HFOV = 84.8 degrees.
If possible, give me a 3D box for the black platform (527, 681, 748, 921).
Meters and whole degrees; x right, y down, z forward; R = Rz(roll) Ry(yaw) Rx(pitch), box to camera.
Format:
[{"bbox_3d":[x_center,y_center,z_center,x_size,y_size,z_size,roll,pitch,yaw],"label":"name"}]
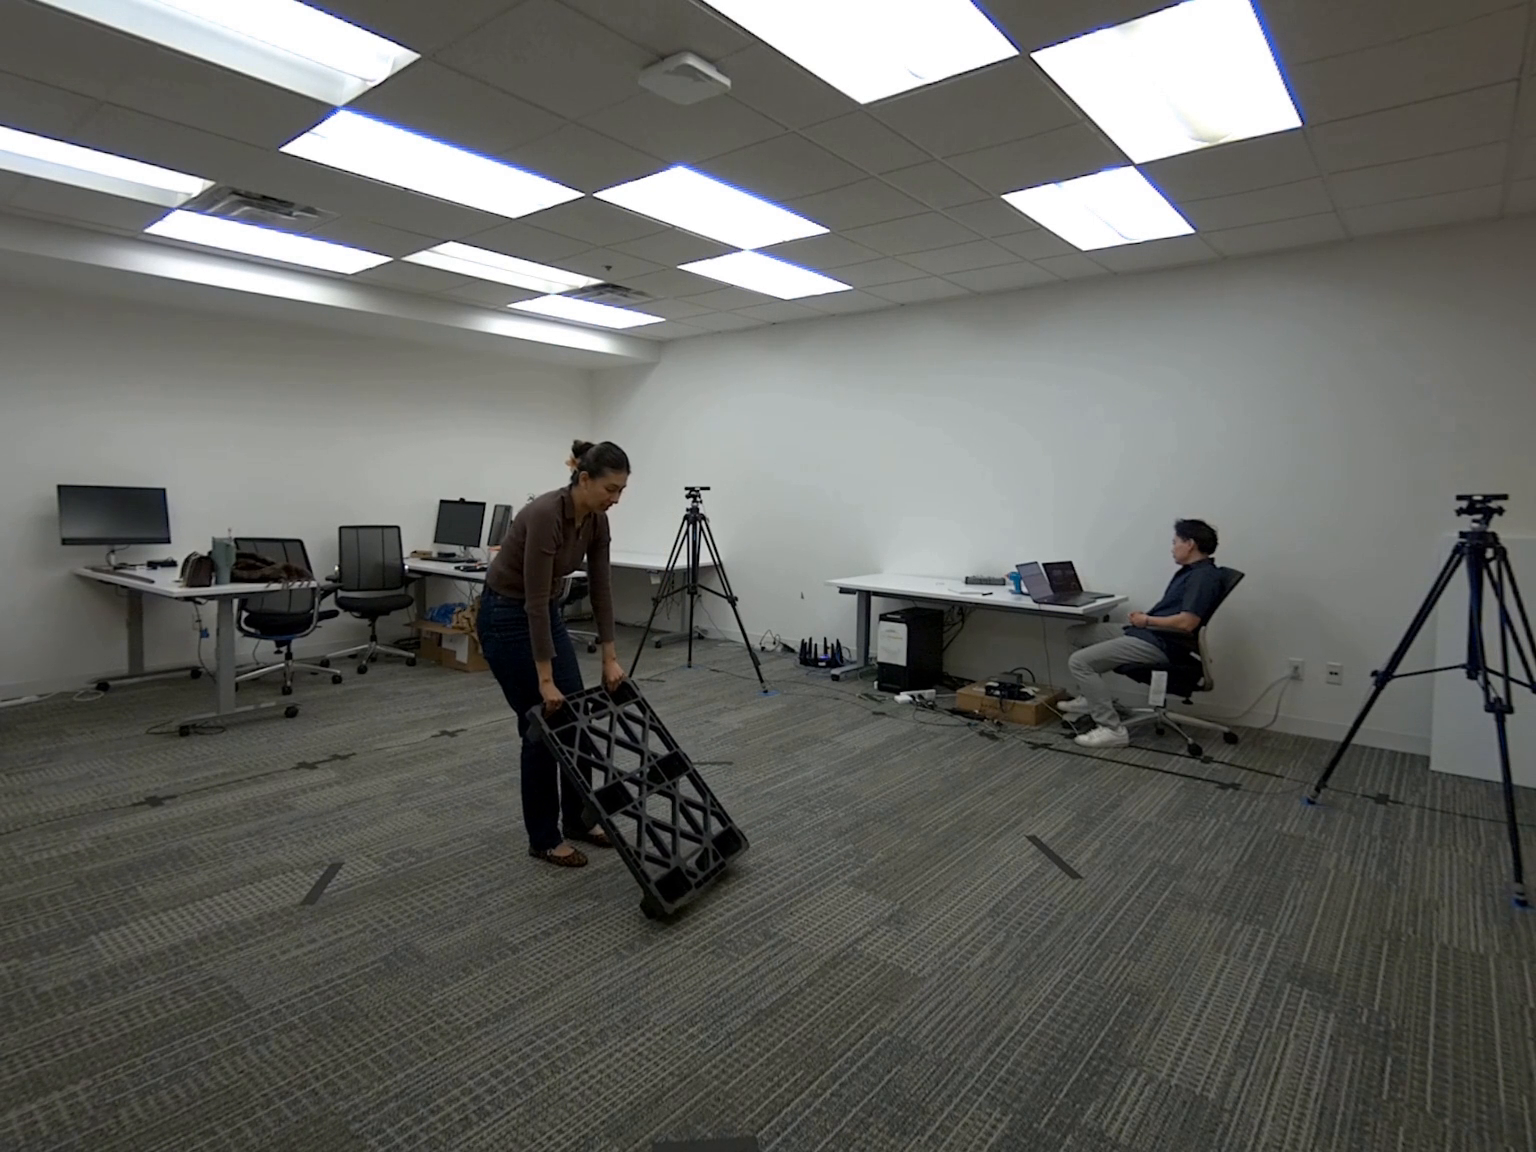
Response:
[{"bbox_3d":[-0.479,0.754,3.026,0.143,0.824,0.591,-46,-17,21],"label":"black platform"}]
